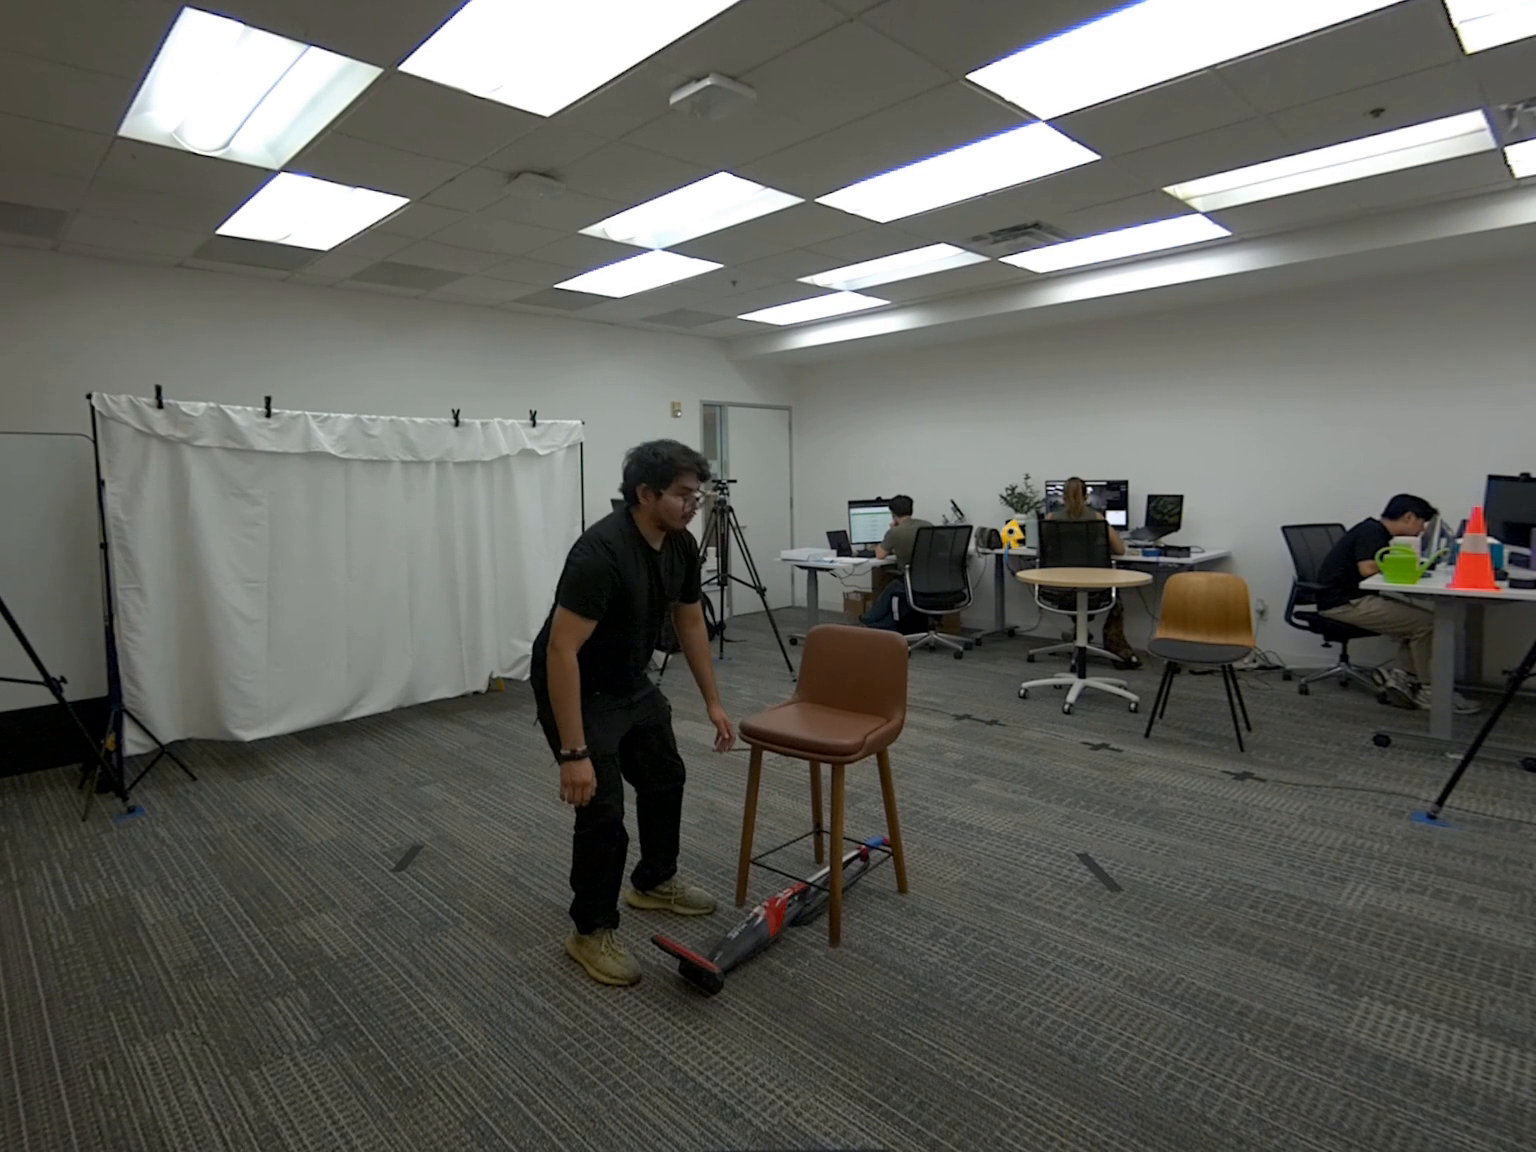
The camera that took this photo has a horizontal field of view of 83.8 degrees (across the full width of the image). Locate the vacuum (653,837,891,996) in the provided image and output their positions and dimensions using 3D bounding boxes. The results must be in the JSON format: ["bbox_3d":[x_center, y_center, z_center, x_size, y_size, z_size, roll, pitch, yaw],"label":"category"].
[{"bbox_3d":[0.133,1.036,2.723,0.260,0.143,1.022,6,9,41],"label":"vacuum"}]
